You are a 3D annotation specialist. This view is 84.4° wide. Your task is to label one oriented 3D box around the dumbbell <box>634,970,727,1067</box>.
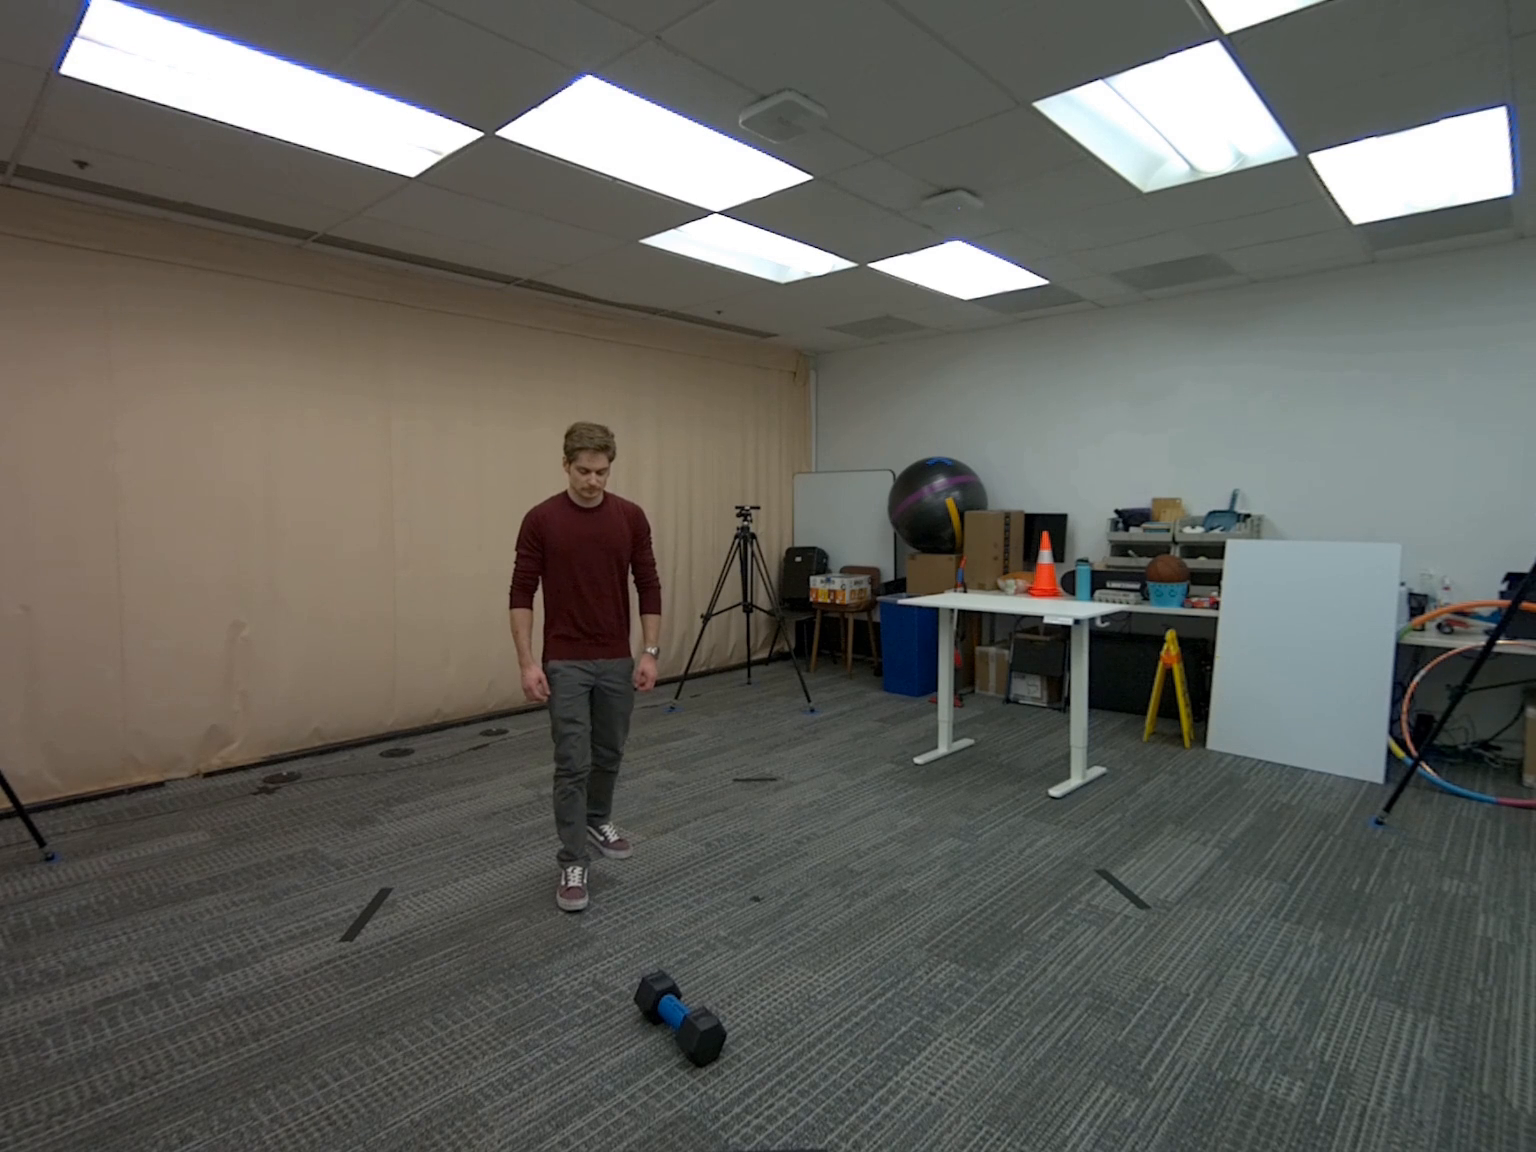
[{"bbox_3d":[-0.234,1.159,2.204,0.107,0.120,0.303,-39,25,-29],"label":"dumbbell"}]
